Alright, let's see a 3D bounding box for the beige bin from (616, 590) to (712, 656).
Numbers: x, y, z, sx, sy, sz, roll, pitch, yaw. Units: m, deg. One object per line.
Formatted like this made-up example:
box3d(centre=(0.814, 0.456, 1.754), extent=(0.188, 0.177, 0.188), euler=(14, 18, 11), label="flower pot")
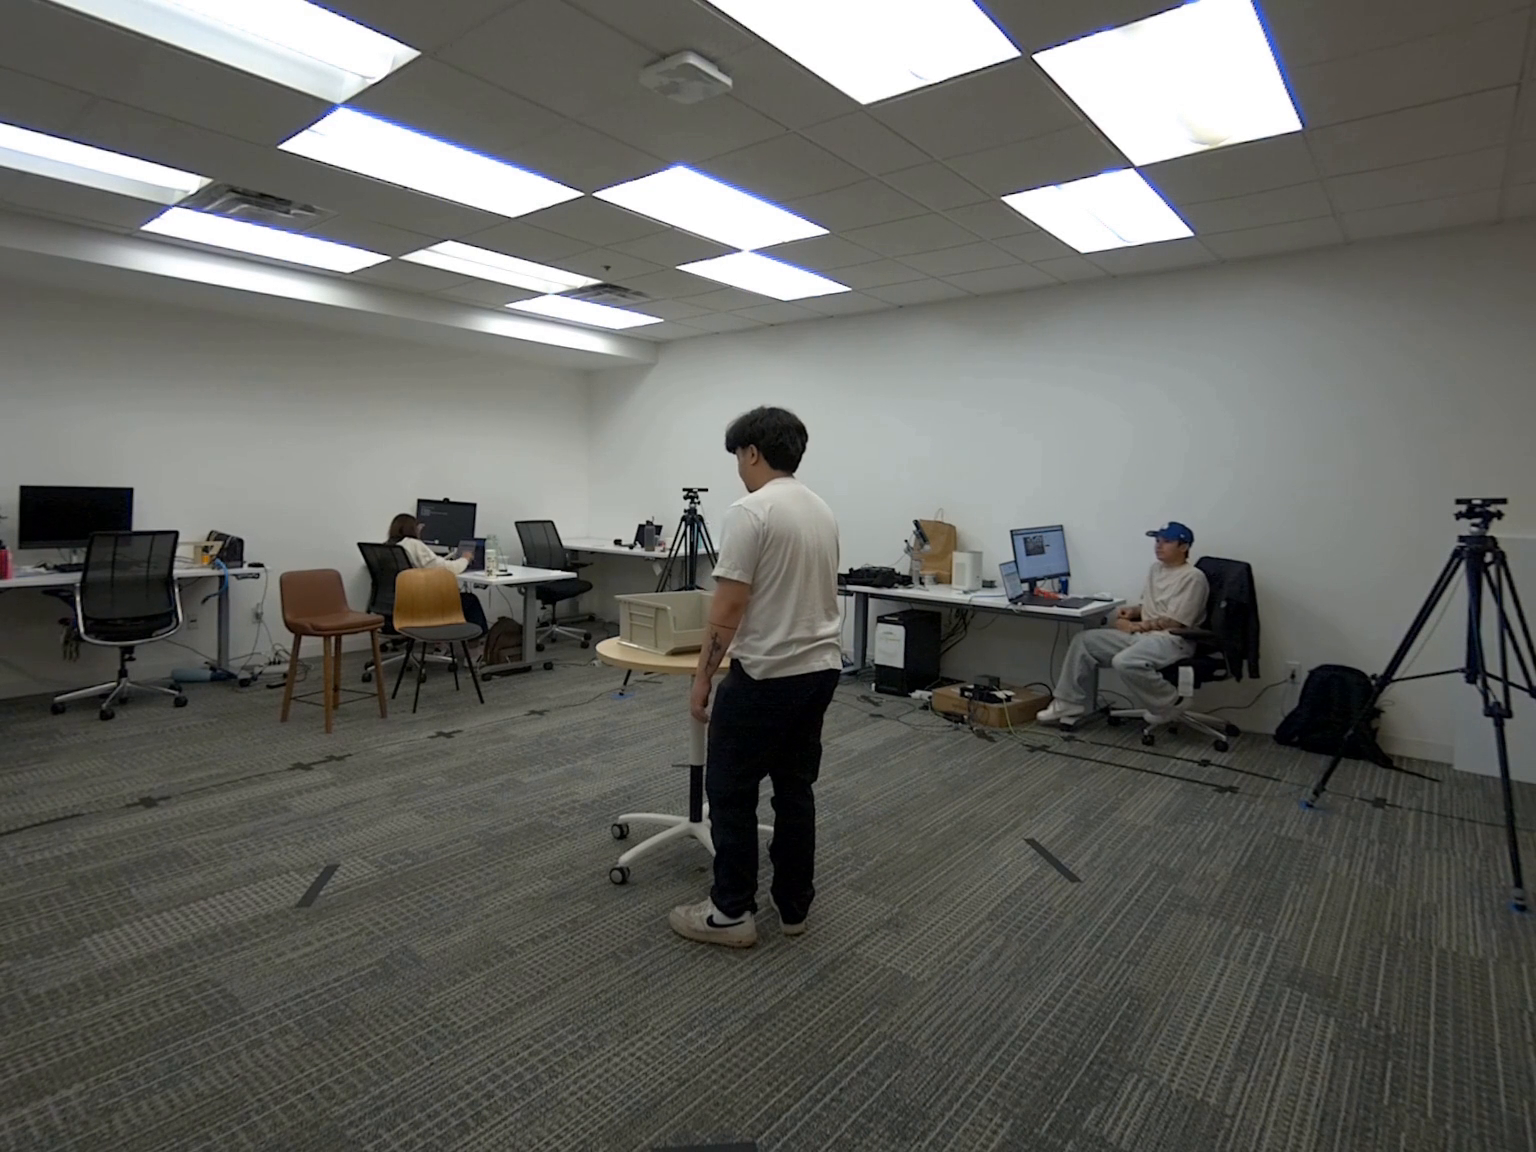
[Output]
box3d(centre=(-0.311, 0.169, 3.212), extent=(0.410, 0.188, 0.390), euler=(-4, 6, -40), label="beige bin")
